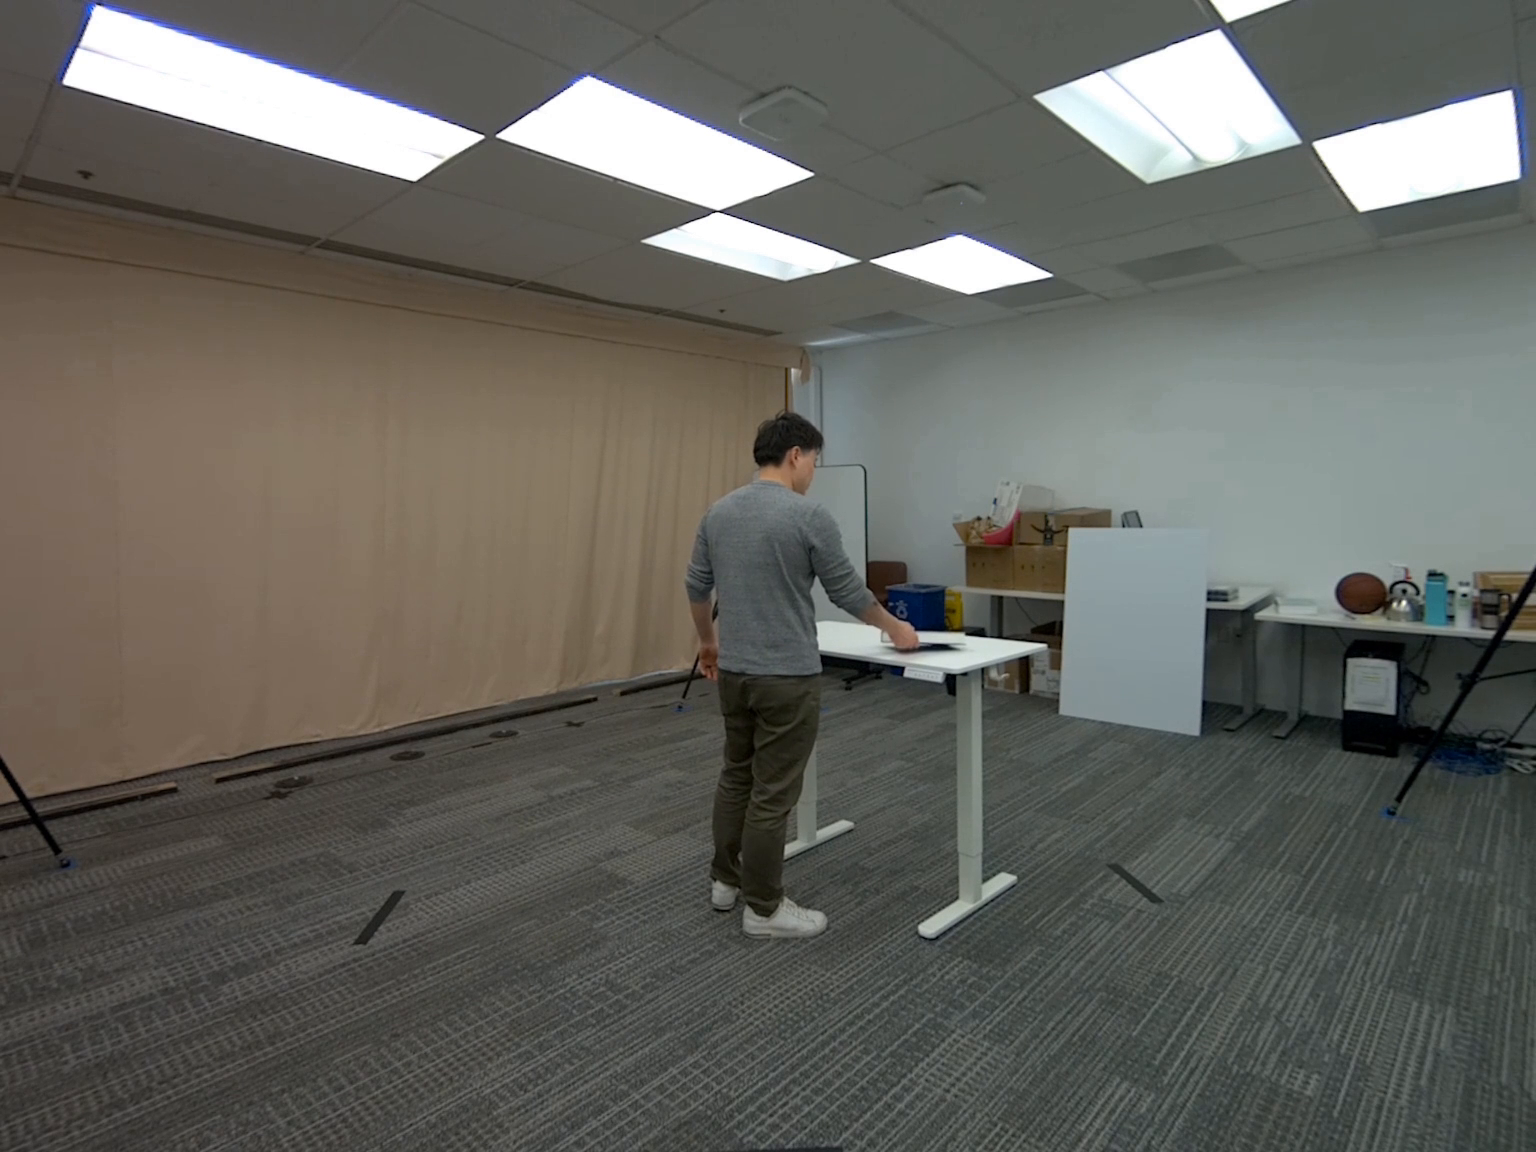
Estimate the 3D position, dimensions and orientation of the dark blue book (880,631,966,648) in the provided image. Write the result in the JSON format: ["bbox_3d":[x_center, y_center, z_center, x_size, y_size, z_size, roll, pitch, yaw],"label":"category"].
[{"bbox_3d":[0.542,0.218,2.925,0.243,0.045,0.165,3,-2,-9],"label":"dark blue book"}]
